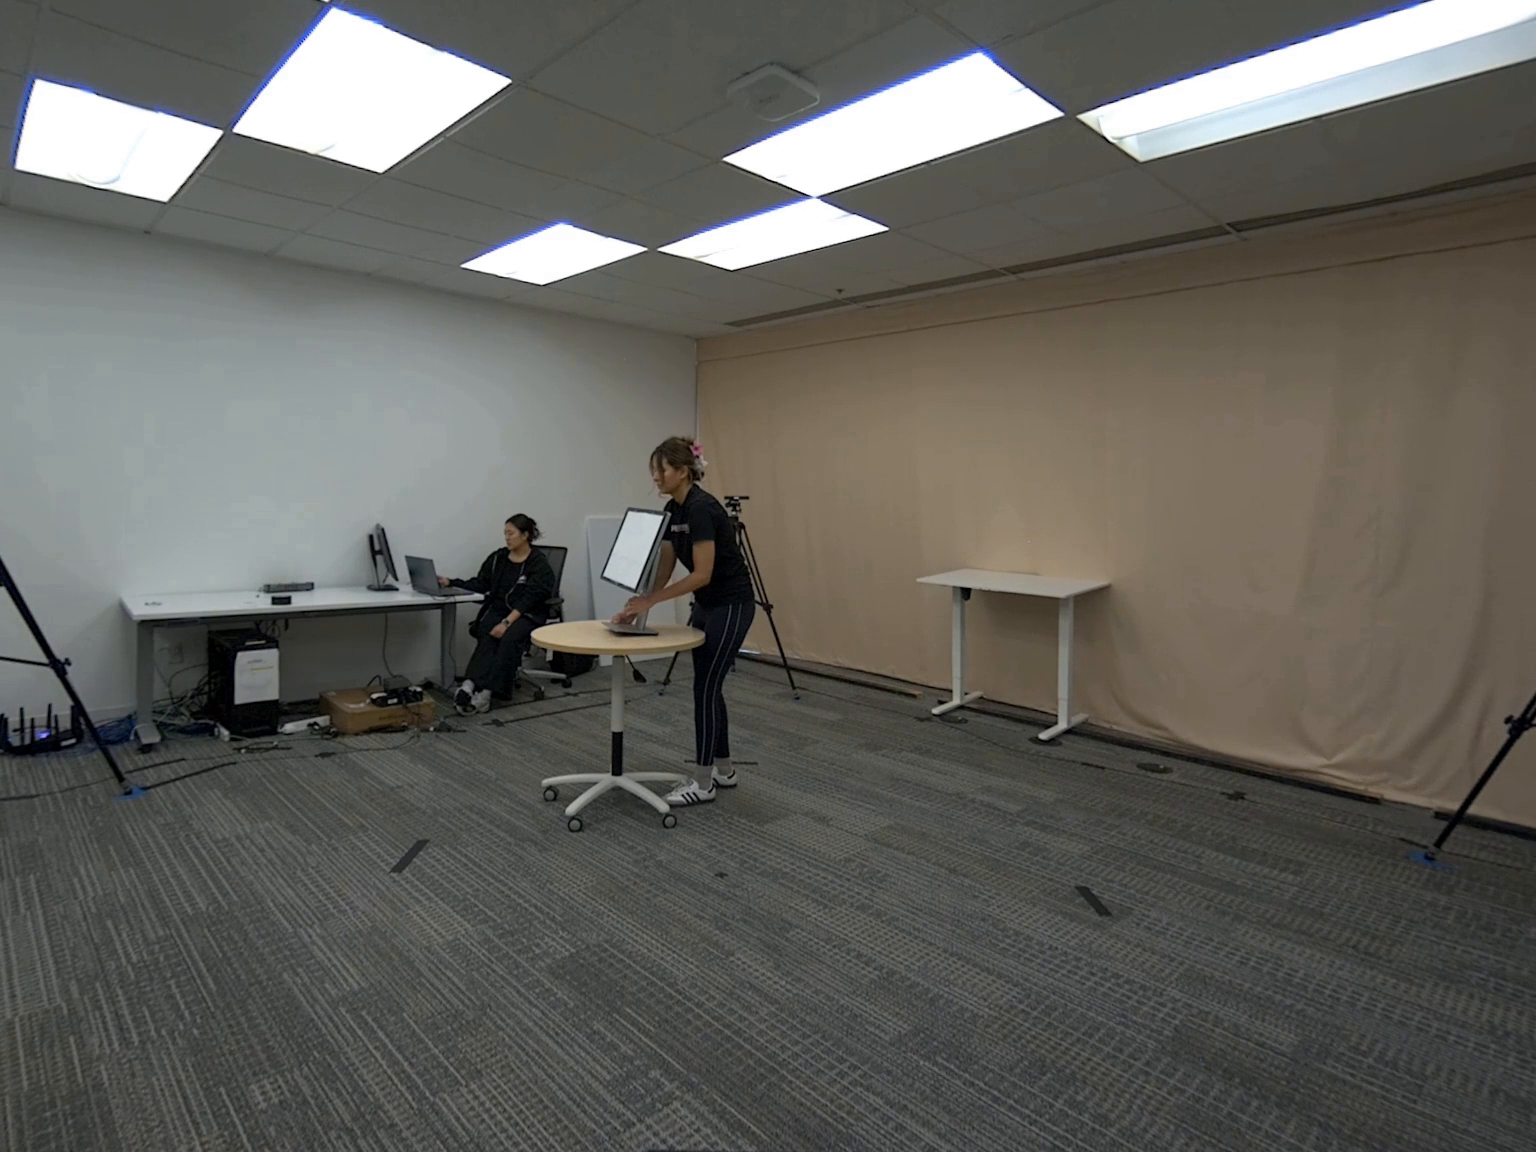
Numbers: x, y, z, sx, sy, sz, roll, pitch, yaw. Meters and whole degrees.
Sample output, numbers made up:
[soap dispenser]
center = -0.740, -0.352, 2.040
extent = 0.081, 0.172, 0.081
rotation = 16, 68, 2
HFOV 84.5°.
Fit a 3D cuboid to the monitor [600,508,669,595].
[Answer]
[monitor]
center = -0.583, -0.023, 3.757
extent = 0.183, 0.522, 0.551
rotation = 6, 3, -28
